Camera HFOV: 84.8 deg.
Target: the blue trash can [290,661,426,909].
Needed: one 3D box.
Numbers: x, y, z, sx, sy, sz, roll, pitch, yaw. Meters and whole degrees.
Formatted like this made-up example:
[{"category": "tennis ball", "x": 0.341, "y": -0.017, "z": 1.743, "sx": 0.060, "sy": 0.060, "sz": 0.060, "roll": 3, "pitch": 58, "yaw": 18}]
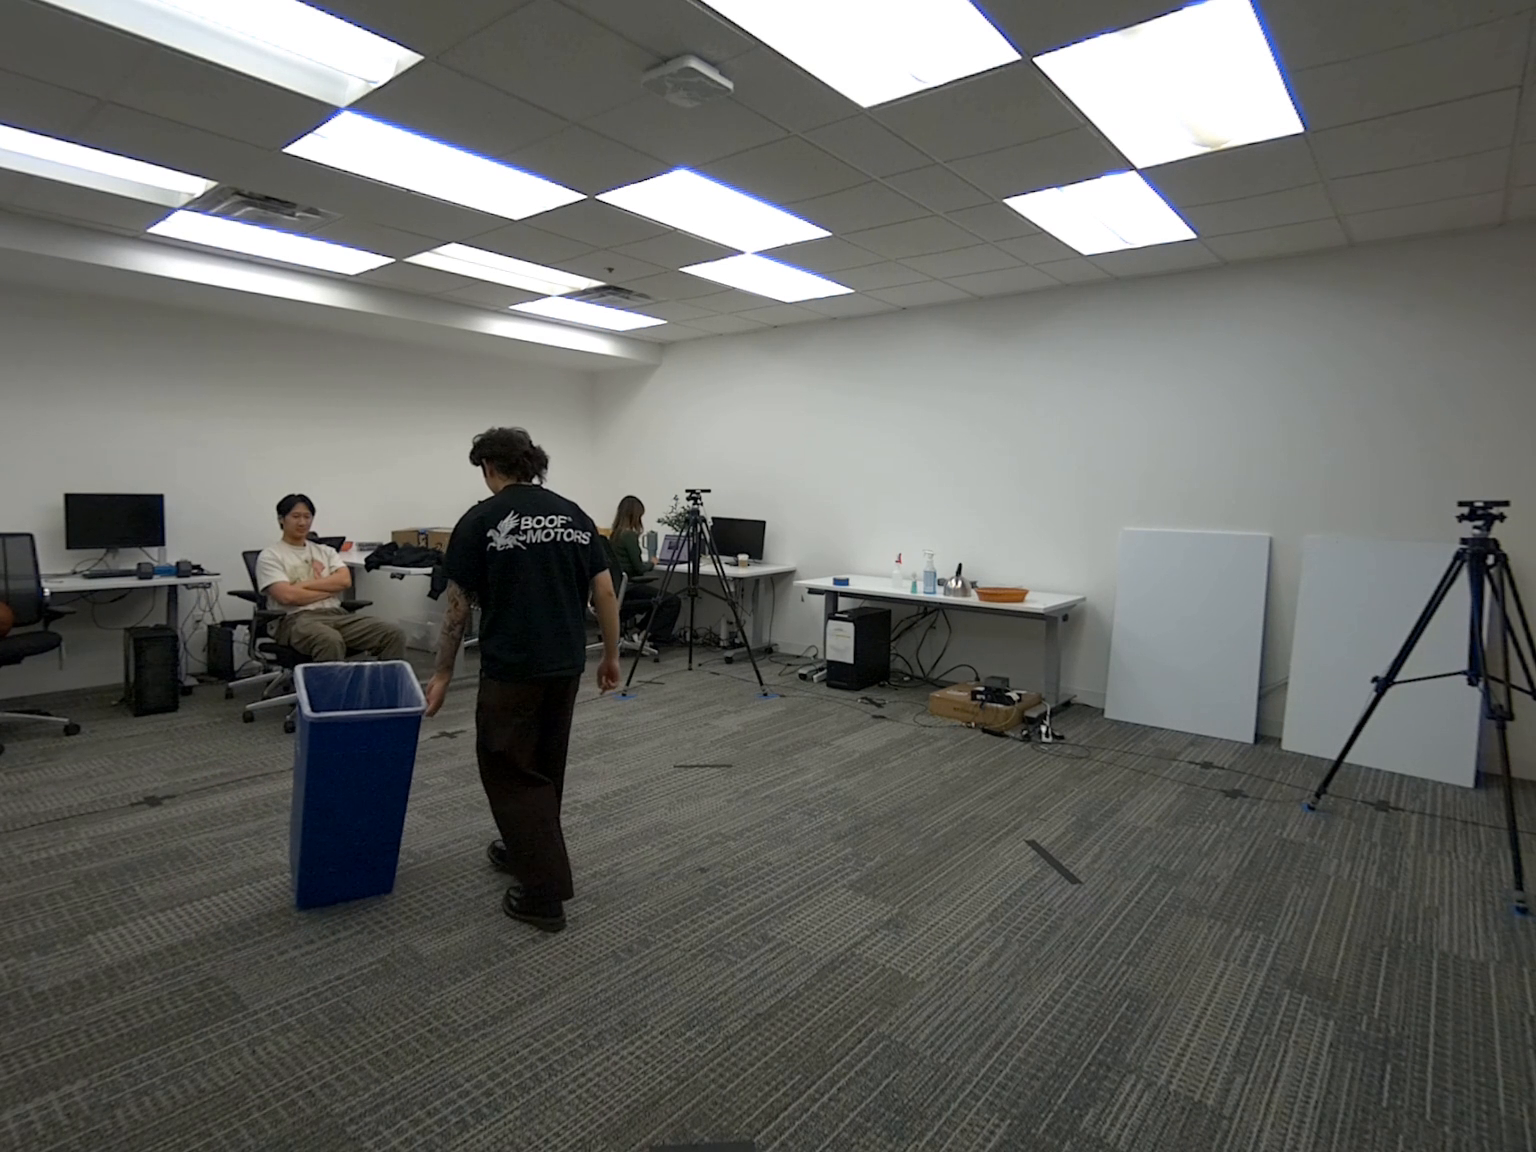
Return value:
[{"category": "blue trash can", "x": -1.415, "y": 0.699, "z": 2.860, "sx": 0.367, "sy": 0.707, "sz": 0.389, "roll": 2, "pitch": 16, "yaw": -34}]
